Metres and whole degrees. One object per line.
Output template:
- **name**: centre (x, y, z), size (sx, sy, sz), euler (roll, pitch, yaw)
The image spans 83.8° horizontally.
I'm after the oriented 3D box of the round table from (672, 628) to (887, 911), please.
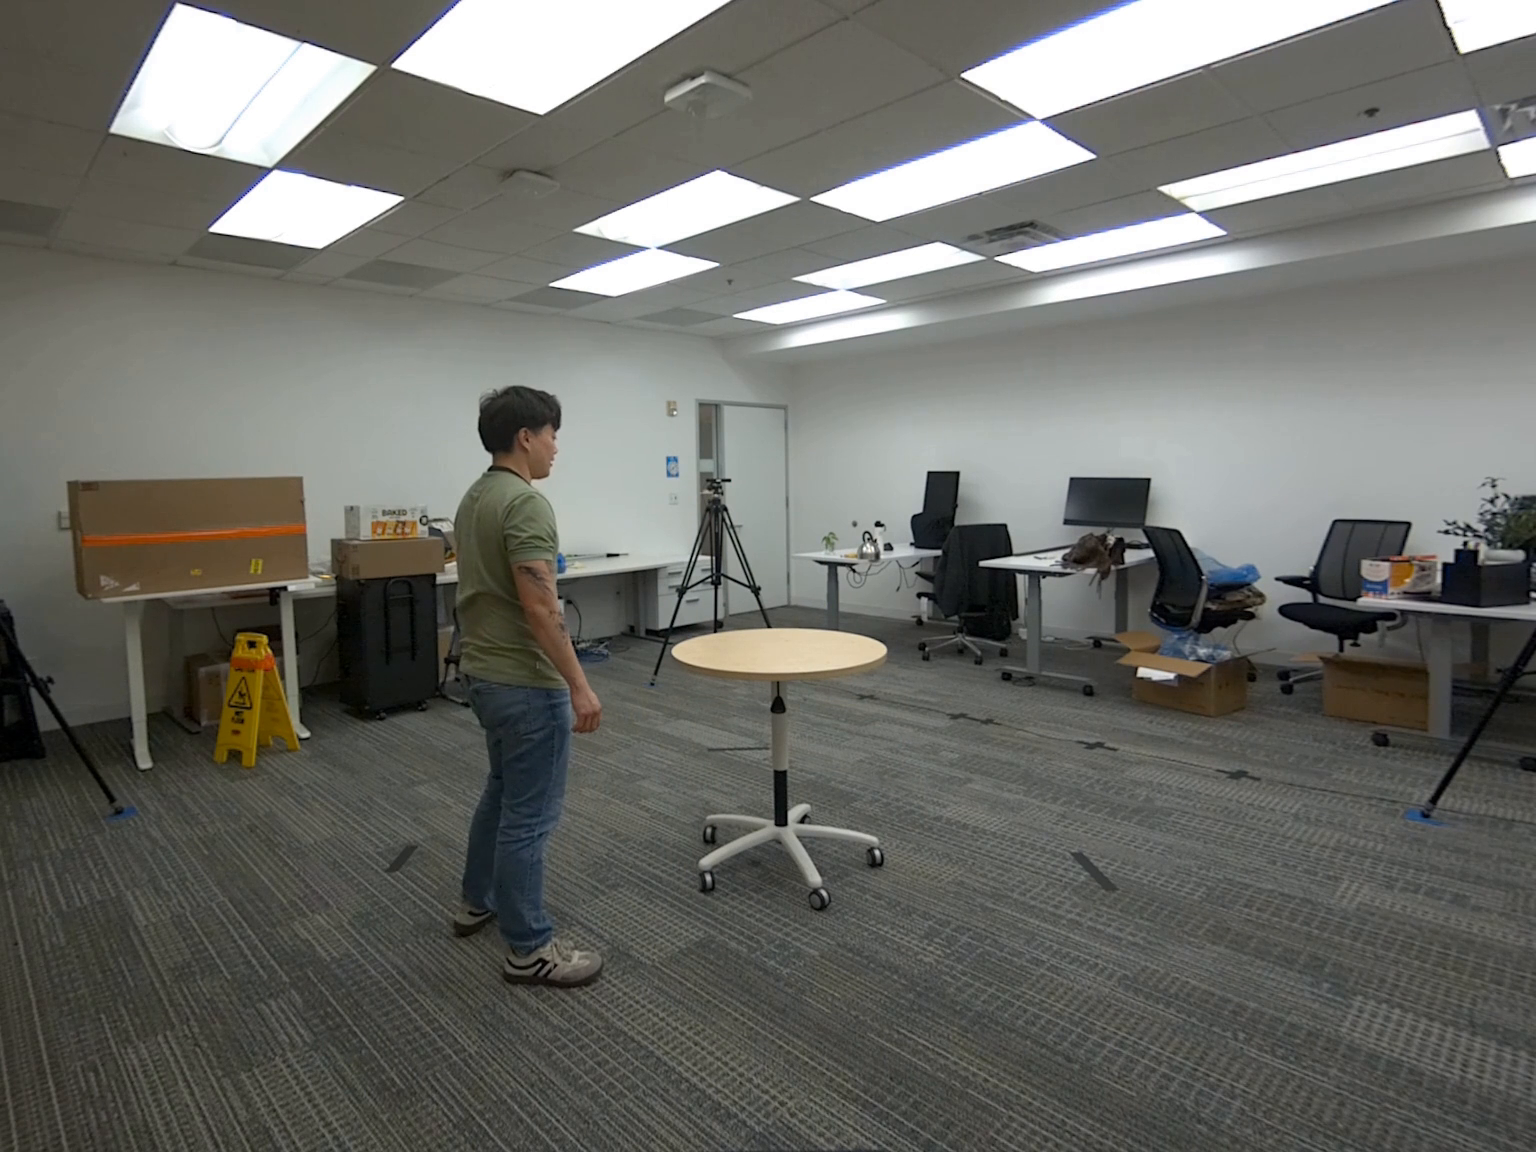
- **round table**: centre (0.046, 0.653, 3.088), size (0.763, 0.791, 0.768), euler (-1, 5, -2)
